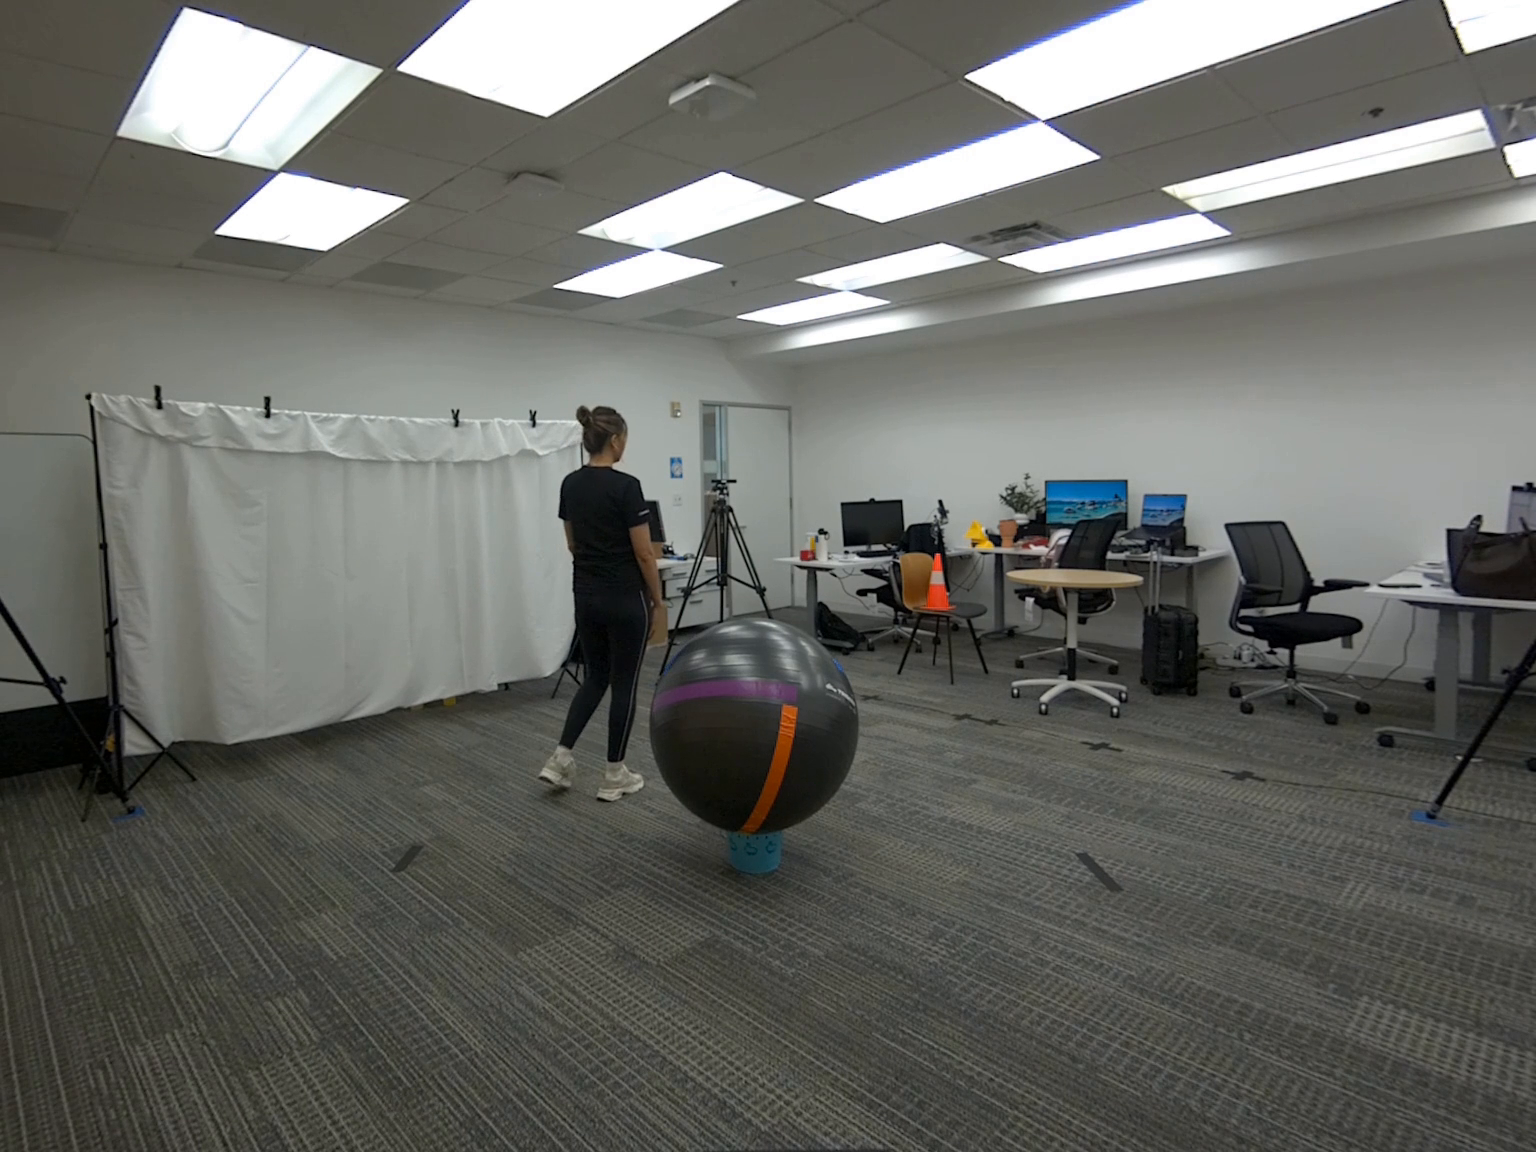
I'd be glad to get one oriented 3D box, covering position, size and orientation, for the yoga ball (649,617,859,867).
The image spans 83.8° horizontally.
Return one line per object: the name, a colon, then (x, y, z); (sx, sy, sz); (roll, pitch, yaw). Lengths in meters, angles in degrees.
yoga ball: (-0.051, 0.537, 3.103); (0.757, 0.755, 0.762); (-1, 5, -2)
